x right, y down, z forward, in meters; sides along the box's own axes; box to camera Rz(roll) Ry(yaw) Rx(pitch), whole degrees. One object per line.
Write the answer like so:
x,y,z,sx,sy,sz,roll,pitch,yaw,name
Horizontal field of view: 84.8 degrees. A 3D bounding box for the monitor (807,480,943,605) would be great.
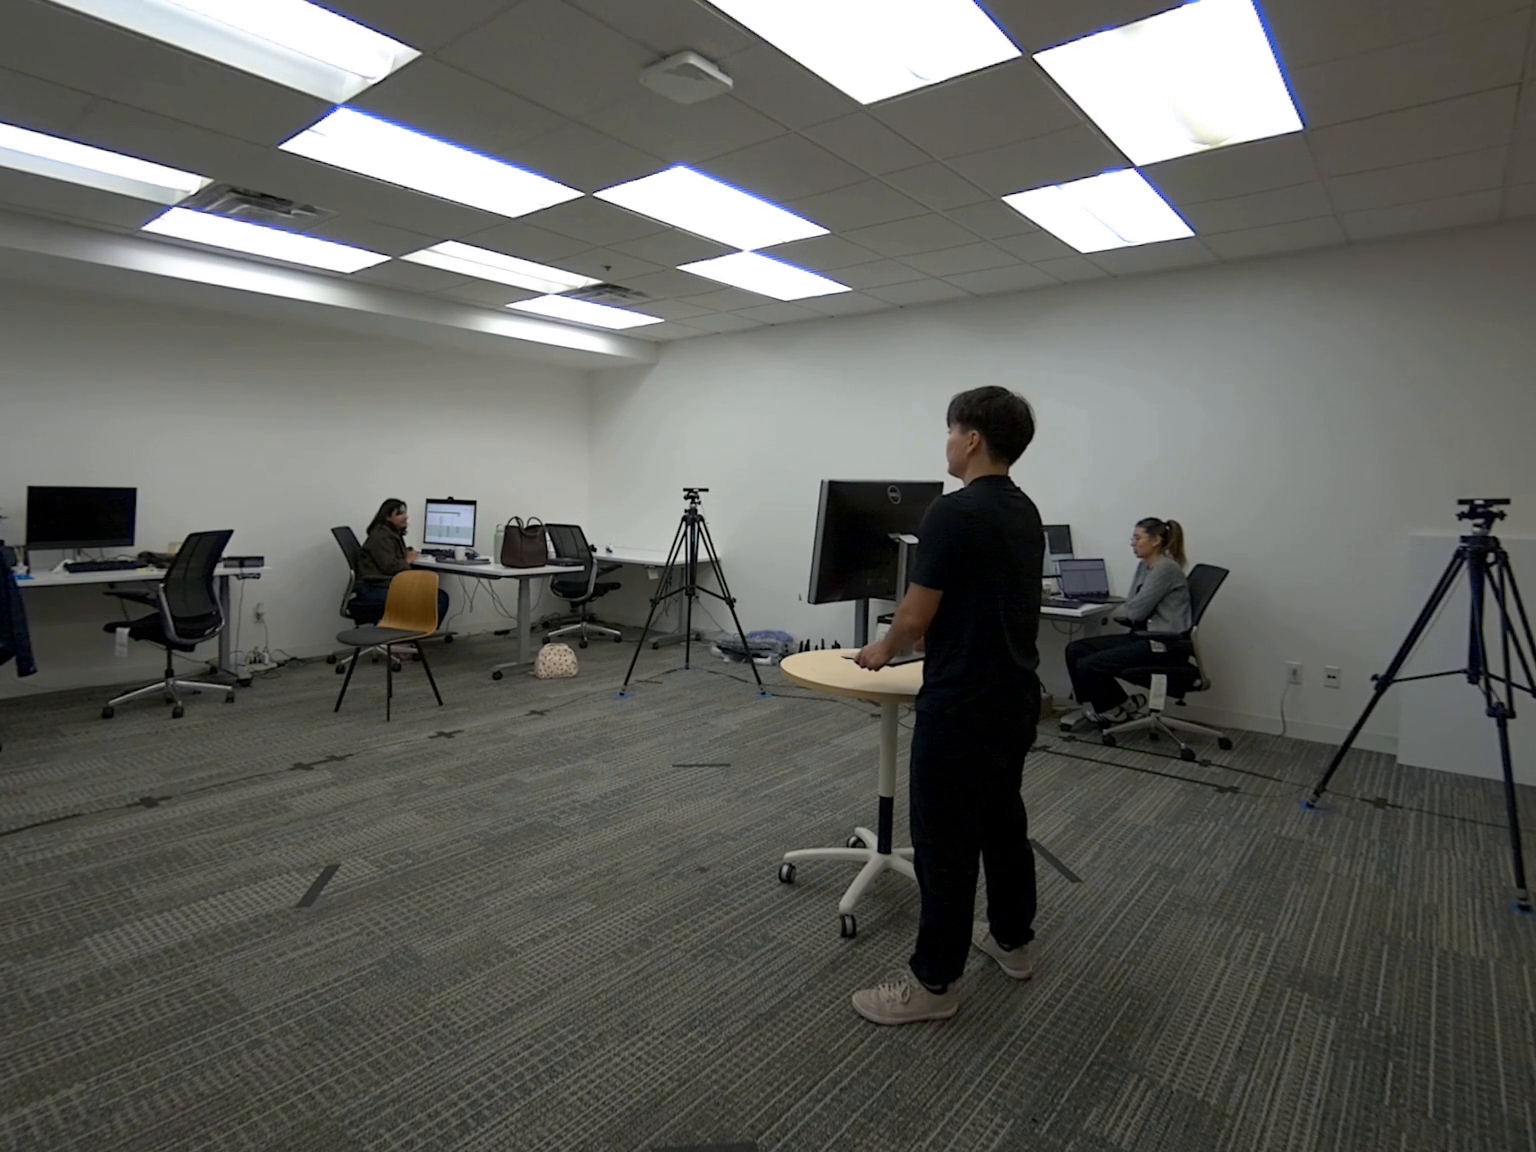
0.358,-0.026,2.579,0.523,0.522,0.193,-4,2,-43,monitor
